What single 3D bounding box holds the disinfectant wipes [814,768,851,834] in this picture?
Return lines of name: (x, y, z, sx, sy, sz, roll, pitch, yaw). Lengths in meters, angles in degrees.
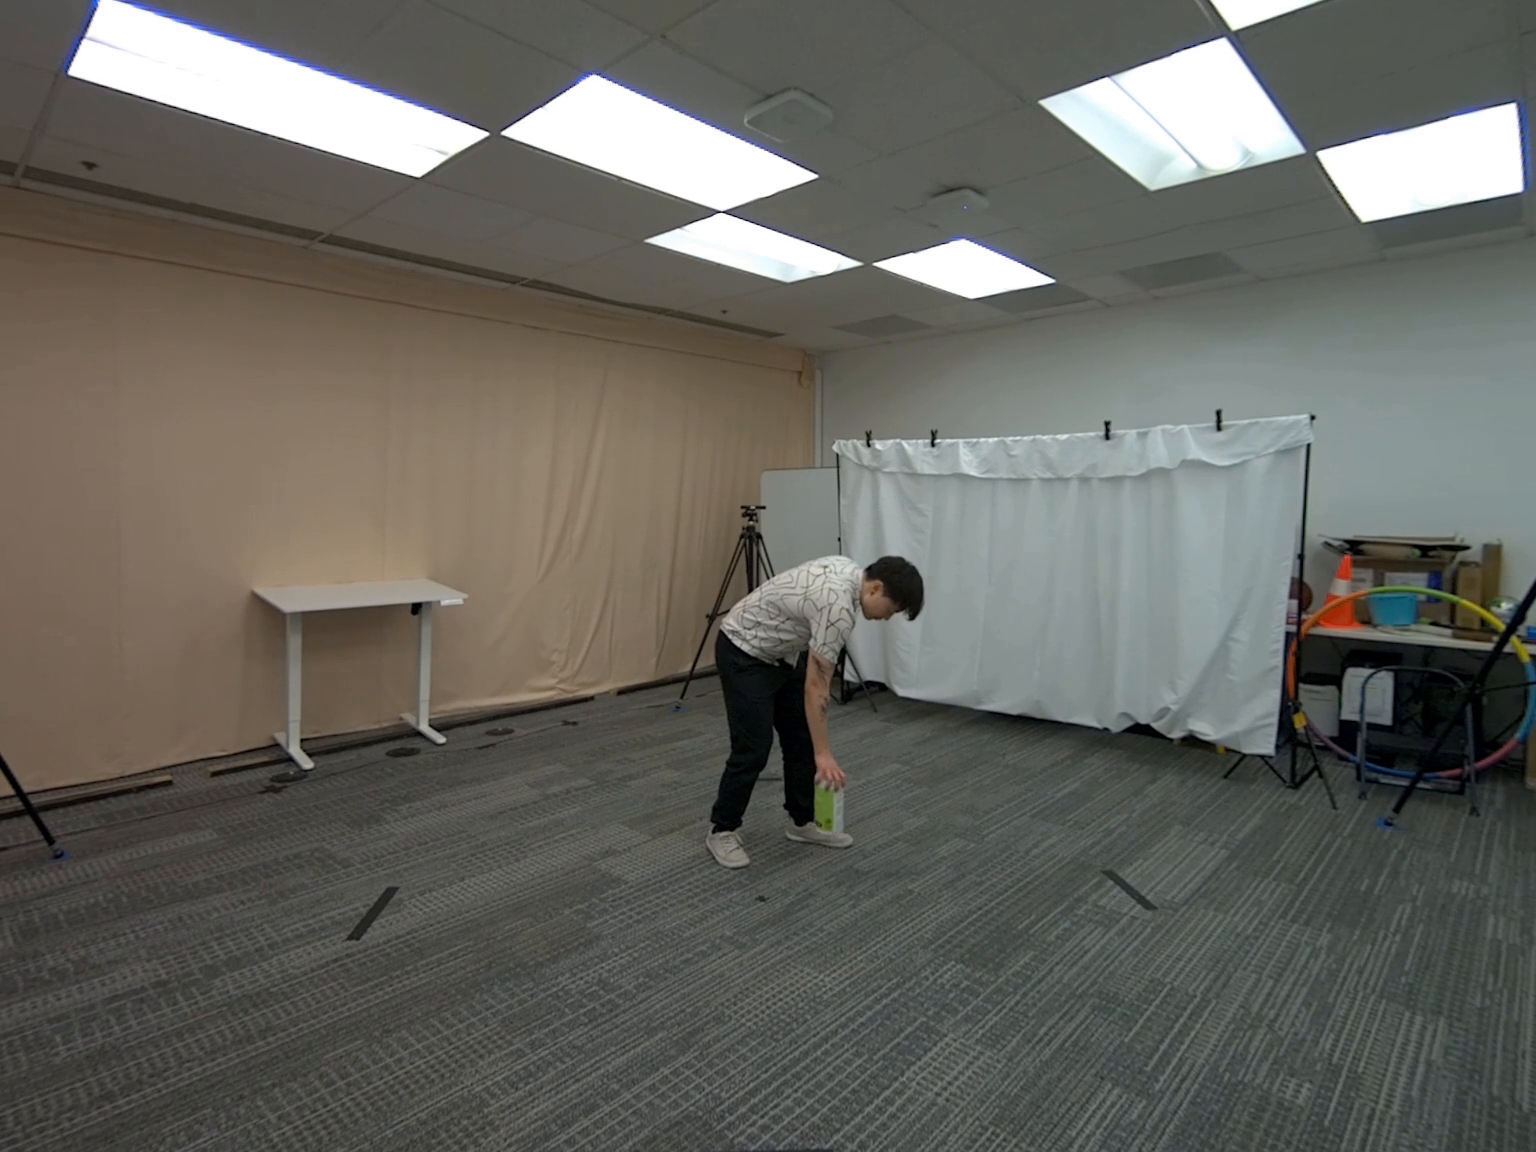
disinfectant wipes: (0.235, 0.846, 3.166, 0.118, 0.216, 0.119, 0, 10, -2)
